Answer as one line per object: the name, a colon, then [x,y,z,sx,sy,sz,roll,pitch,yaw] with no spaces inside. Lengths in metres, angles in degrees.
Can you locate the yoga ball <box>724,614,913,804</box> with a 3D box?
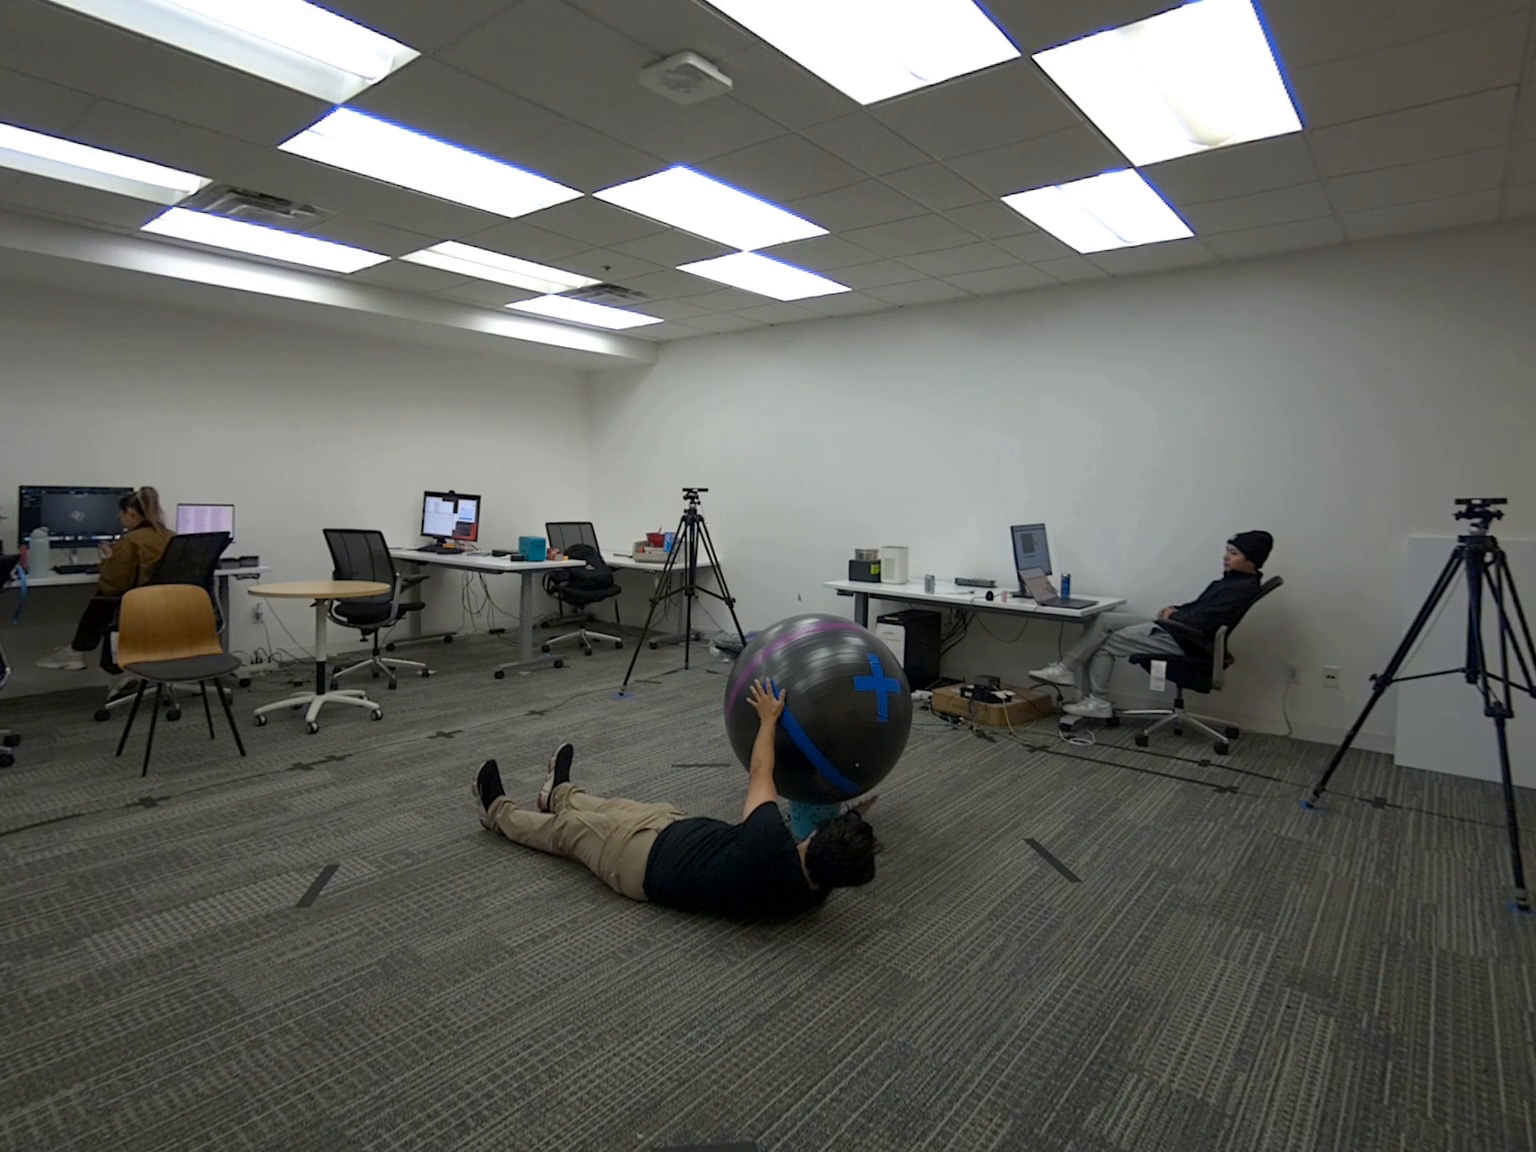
yoga ball: [0.192,0.534,3.460,0.757,0.756,0.761,0,4,-2]
